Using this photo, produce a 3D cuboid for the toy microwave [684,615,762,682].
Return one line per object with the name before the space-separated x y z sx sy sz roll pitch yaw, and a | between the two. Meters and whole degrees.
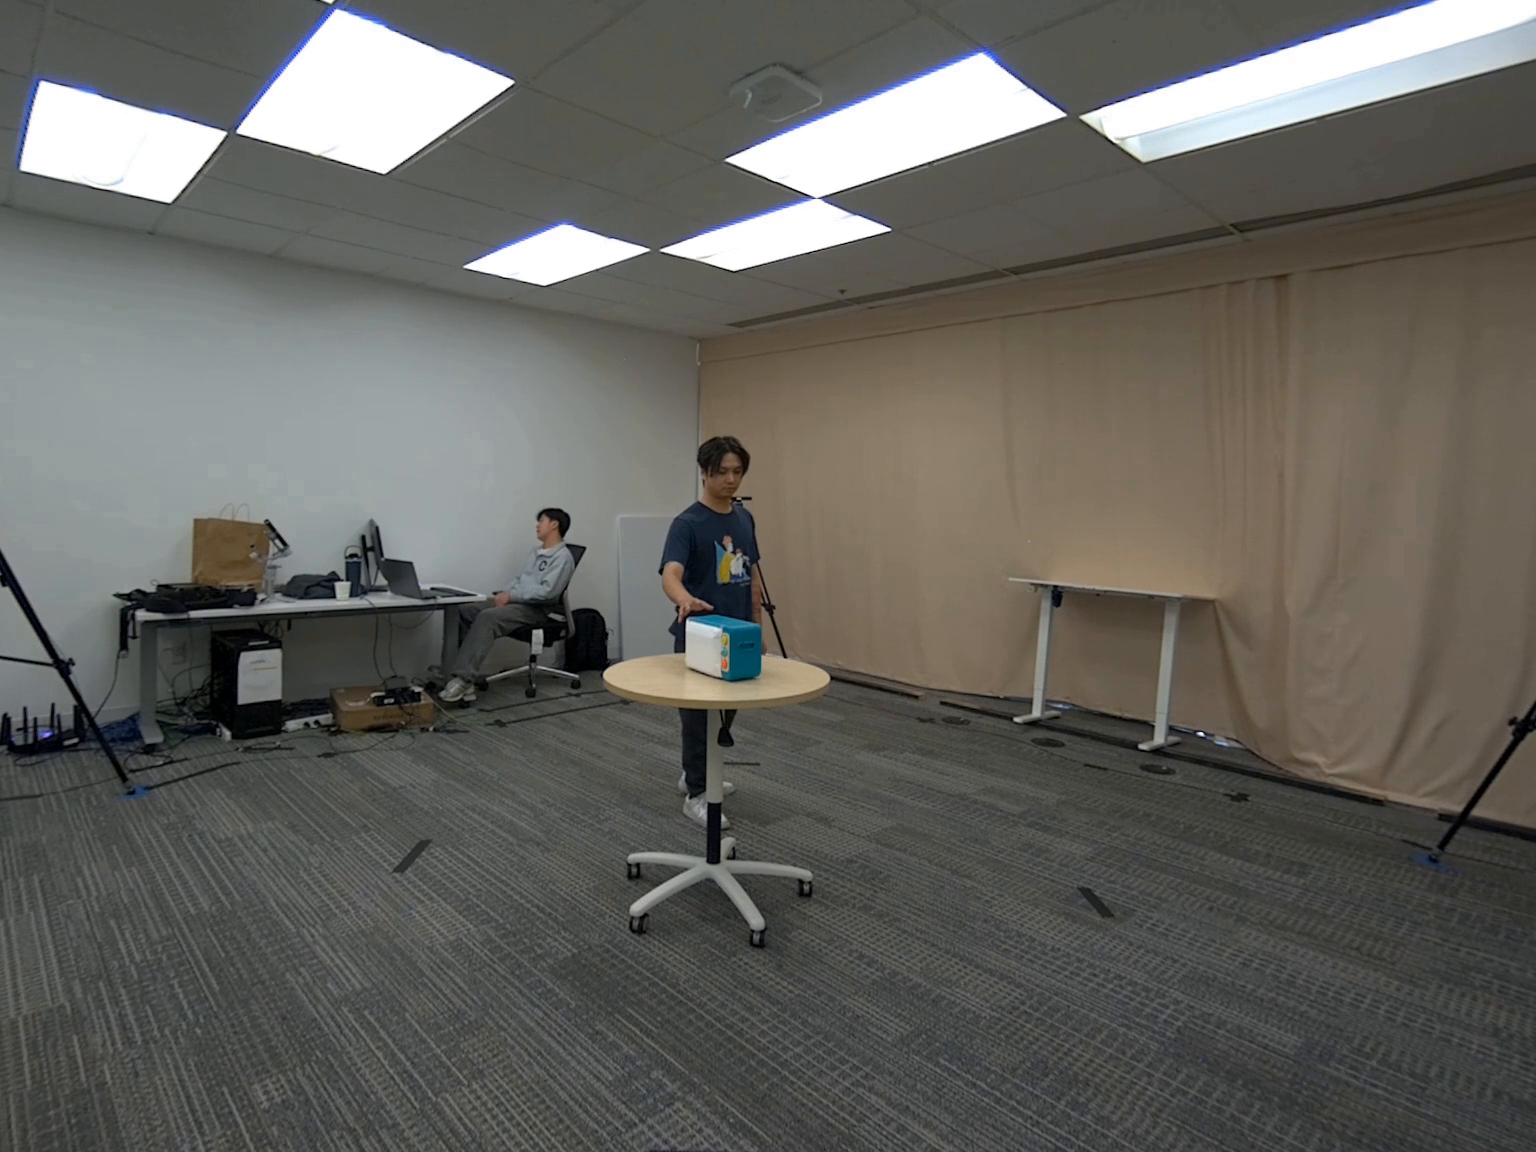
toy microwave | -0.168 0.242 2.844 0.149 0.183 0.293 -2 6 -35
